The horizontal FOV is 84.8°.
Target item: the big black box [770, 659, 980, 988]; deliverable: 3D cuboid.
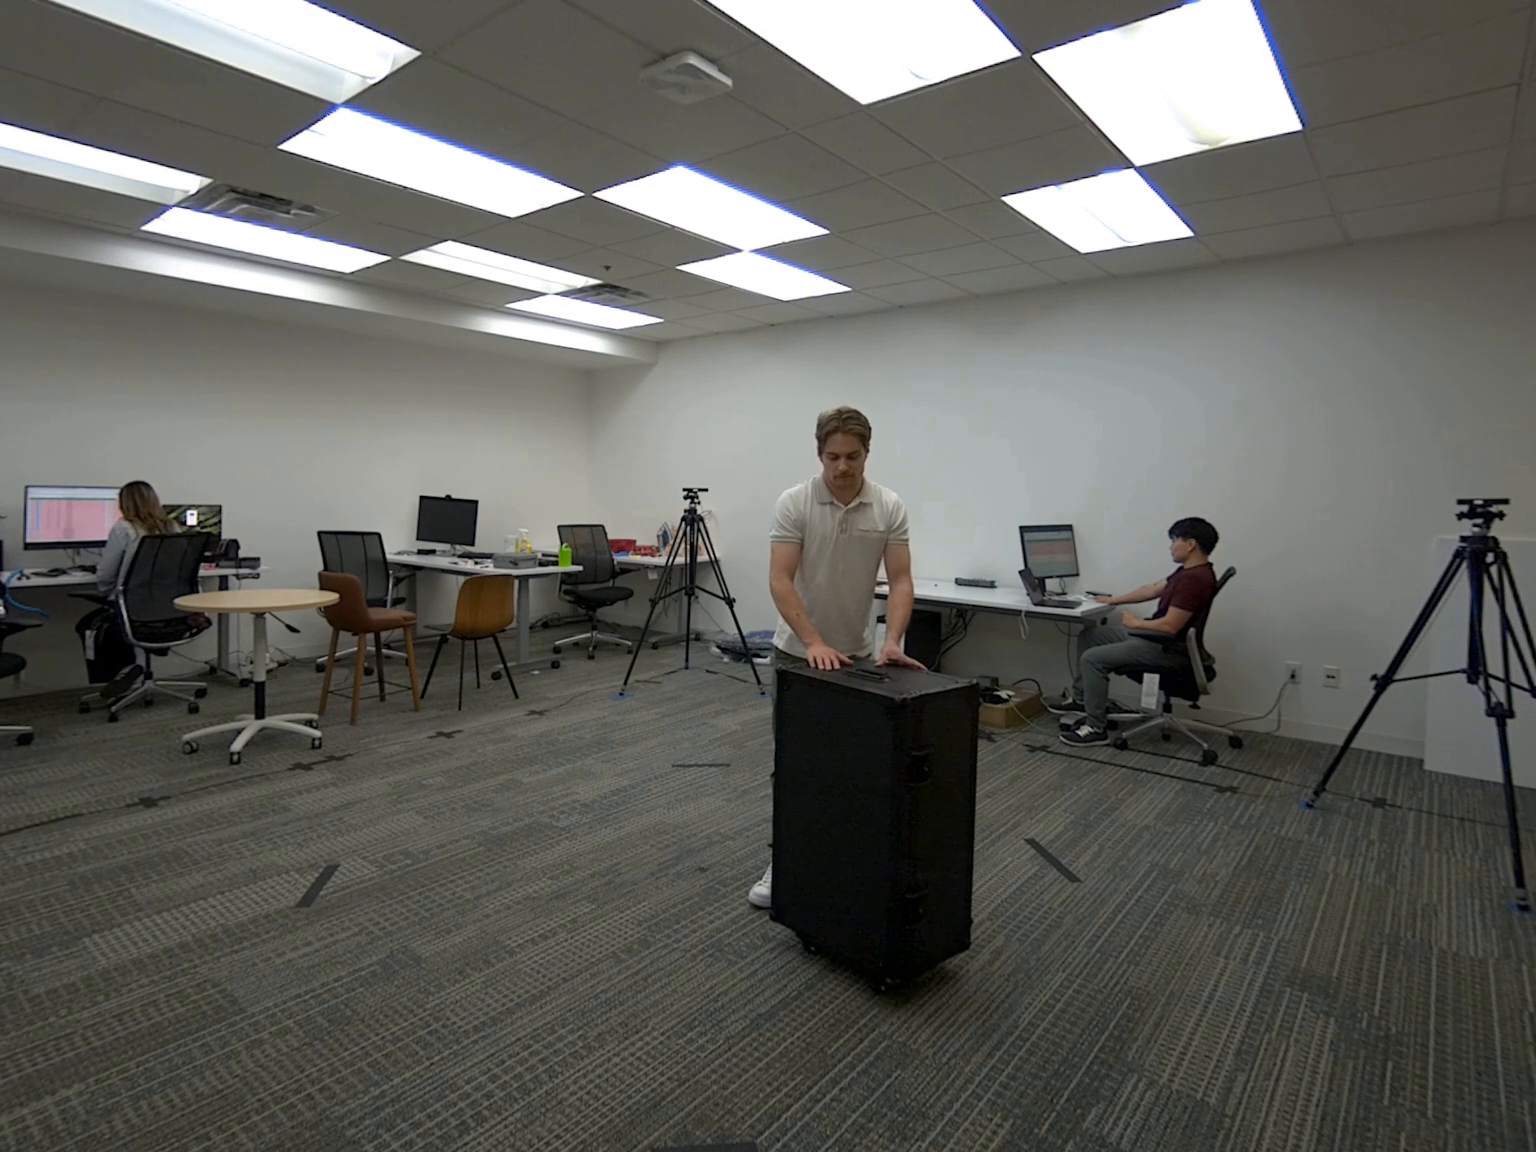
[{"bbox_3d":[0.300,0.714,2.536,0.373,0.866,0.541,-1,4,-41],"label":"big black box"}]
